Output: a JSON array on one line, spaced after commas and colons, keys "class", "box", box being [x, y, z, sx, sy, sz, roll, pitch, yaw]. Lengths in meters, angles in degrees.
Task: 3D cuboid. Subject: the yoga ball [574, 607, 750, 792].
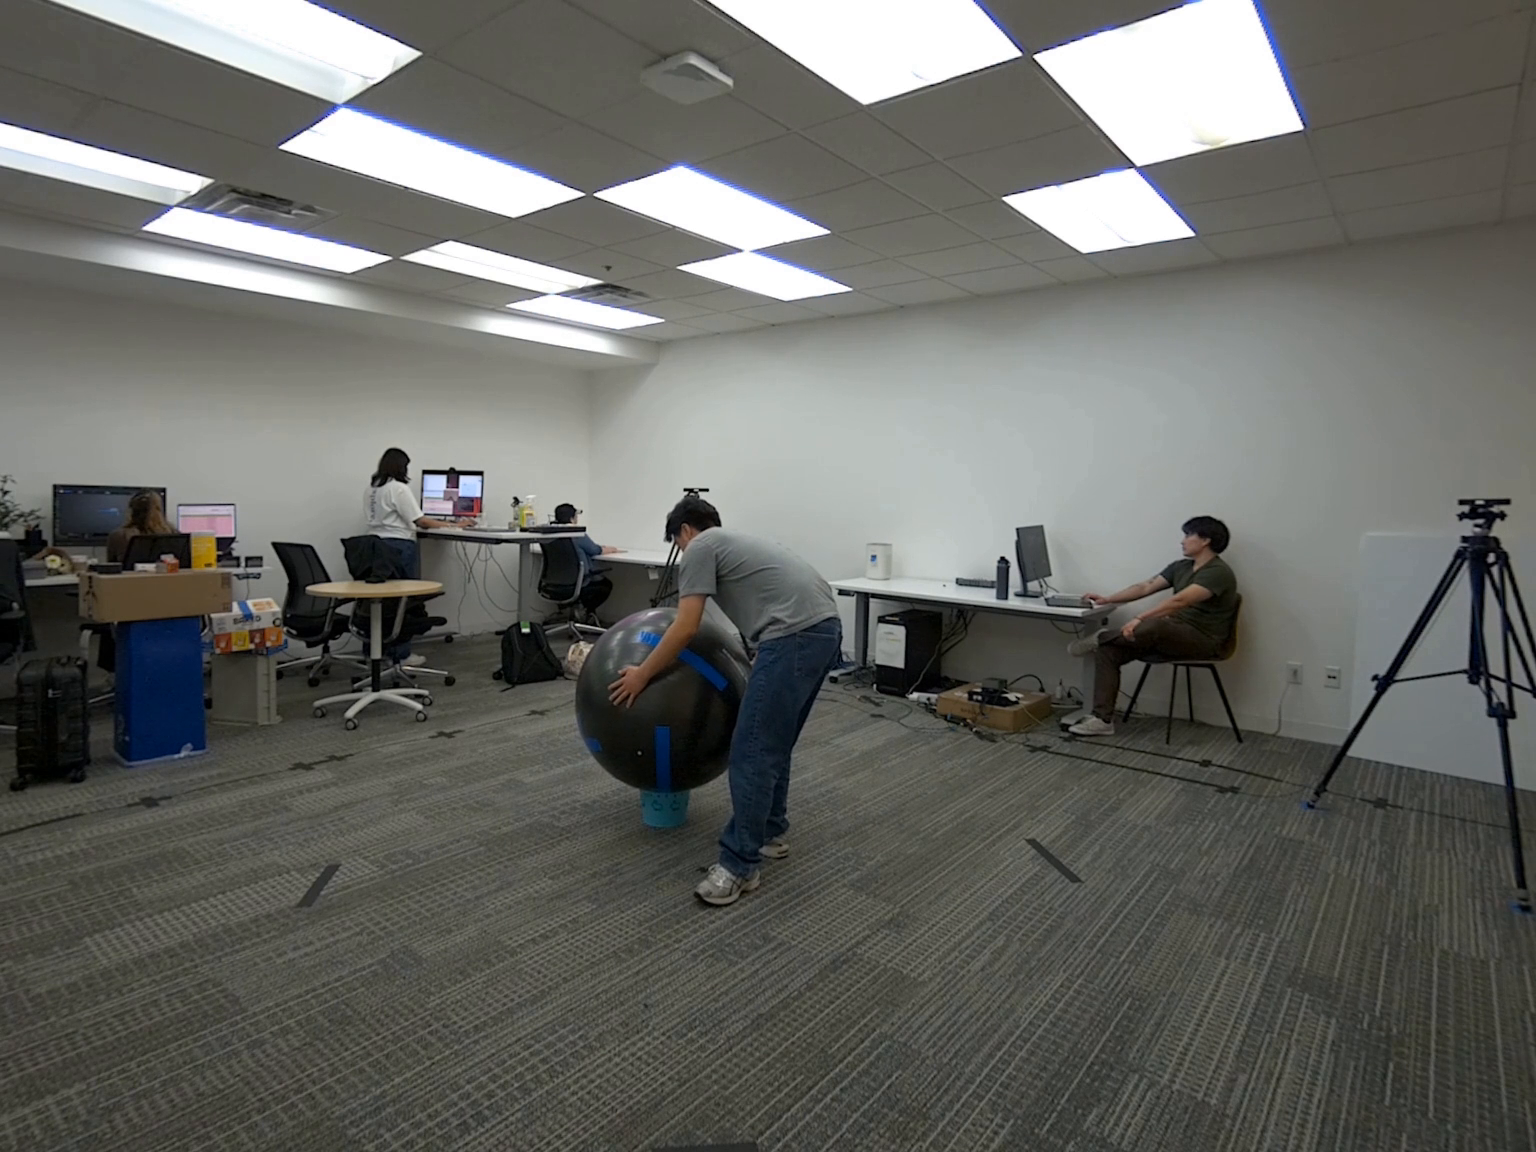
[{"class": "yoga ball", "box": [-0.444, 0.516, 3.563, 0.757, 0.755, 0.762, 1, 4, -2]}]
